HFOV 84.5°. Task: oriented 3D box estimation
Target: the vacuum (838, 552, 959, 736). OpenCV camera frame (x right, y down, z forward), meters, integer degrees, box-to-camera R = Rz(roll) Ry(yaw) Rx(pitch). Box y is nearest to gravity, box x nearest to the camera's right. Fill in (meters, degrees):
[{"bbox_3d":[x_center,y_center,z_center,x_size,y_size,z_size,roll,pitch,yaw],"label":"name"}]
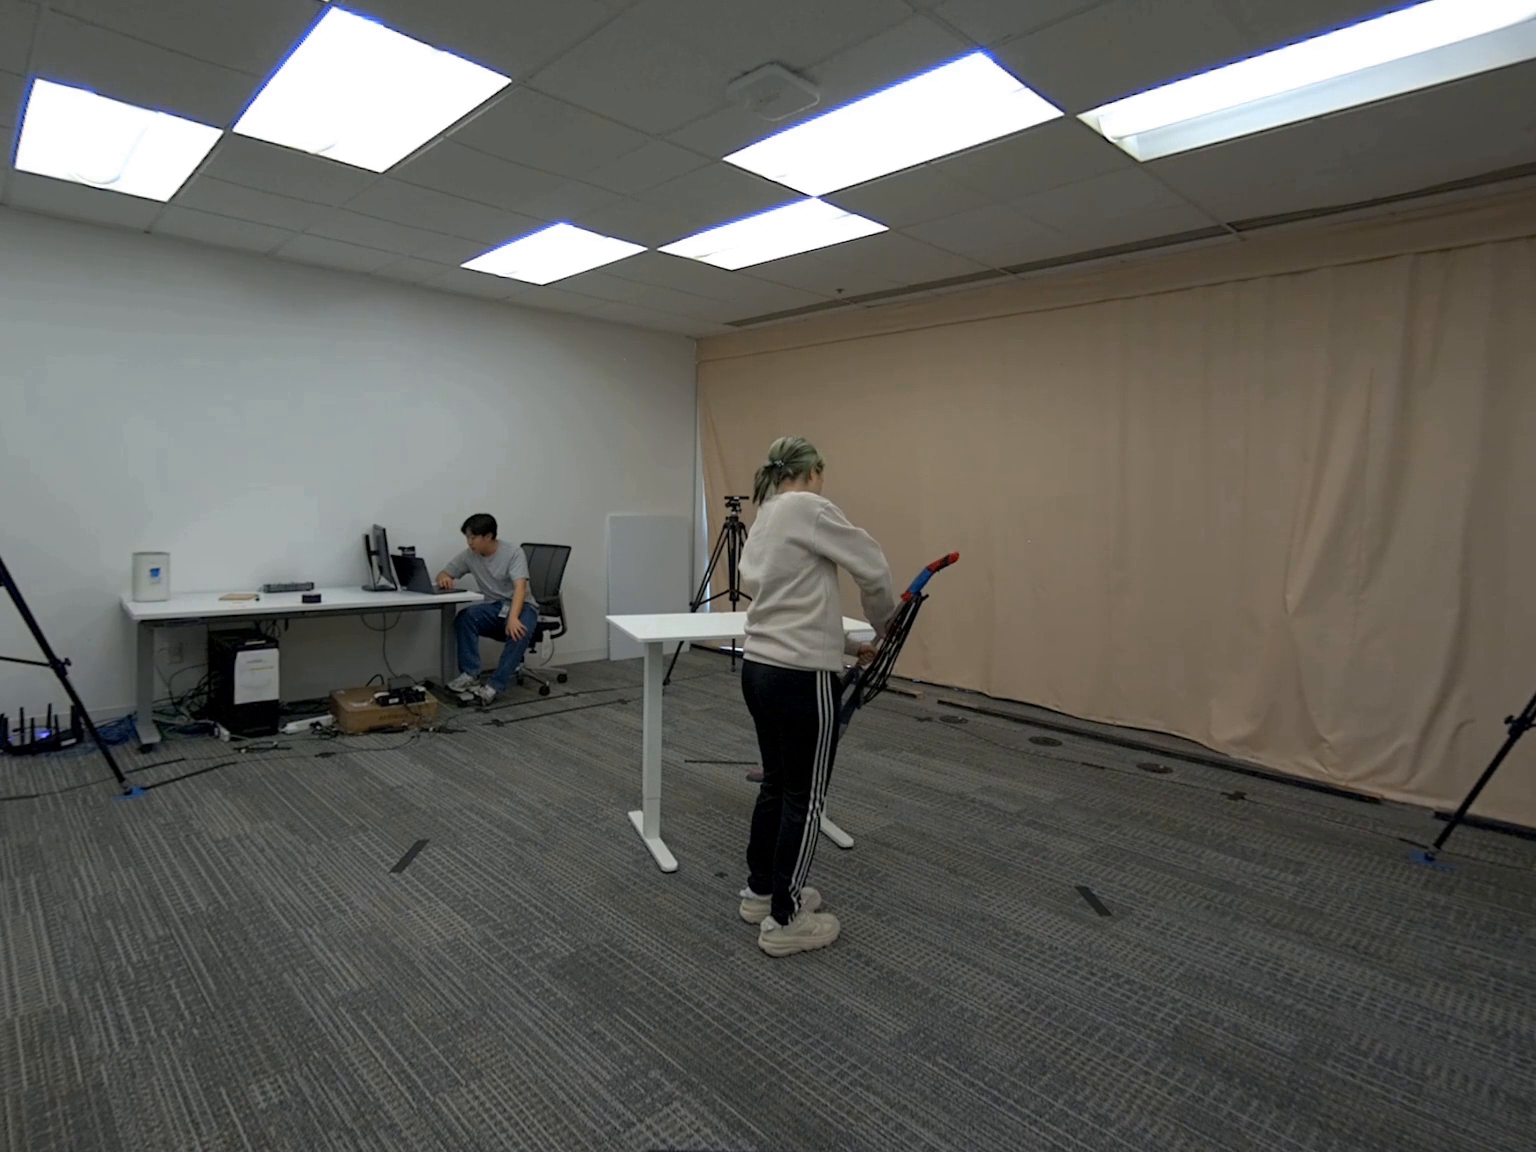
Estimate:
[{"bbox_3d":[0.314,0.341,2.809,0.246,1.045,0.148,13,29,-39],"label":"vacuum"}]
